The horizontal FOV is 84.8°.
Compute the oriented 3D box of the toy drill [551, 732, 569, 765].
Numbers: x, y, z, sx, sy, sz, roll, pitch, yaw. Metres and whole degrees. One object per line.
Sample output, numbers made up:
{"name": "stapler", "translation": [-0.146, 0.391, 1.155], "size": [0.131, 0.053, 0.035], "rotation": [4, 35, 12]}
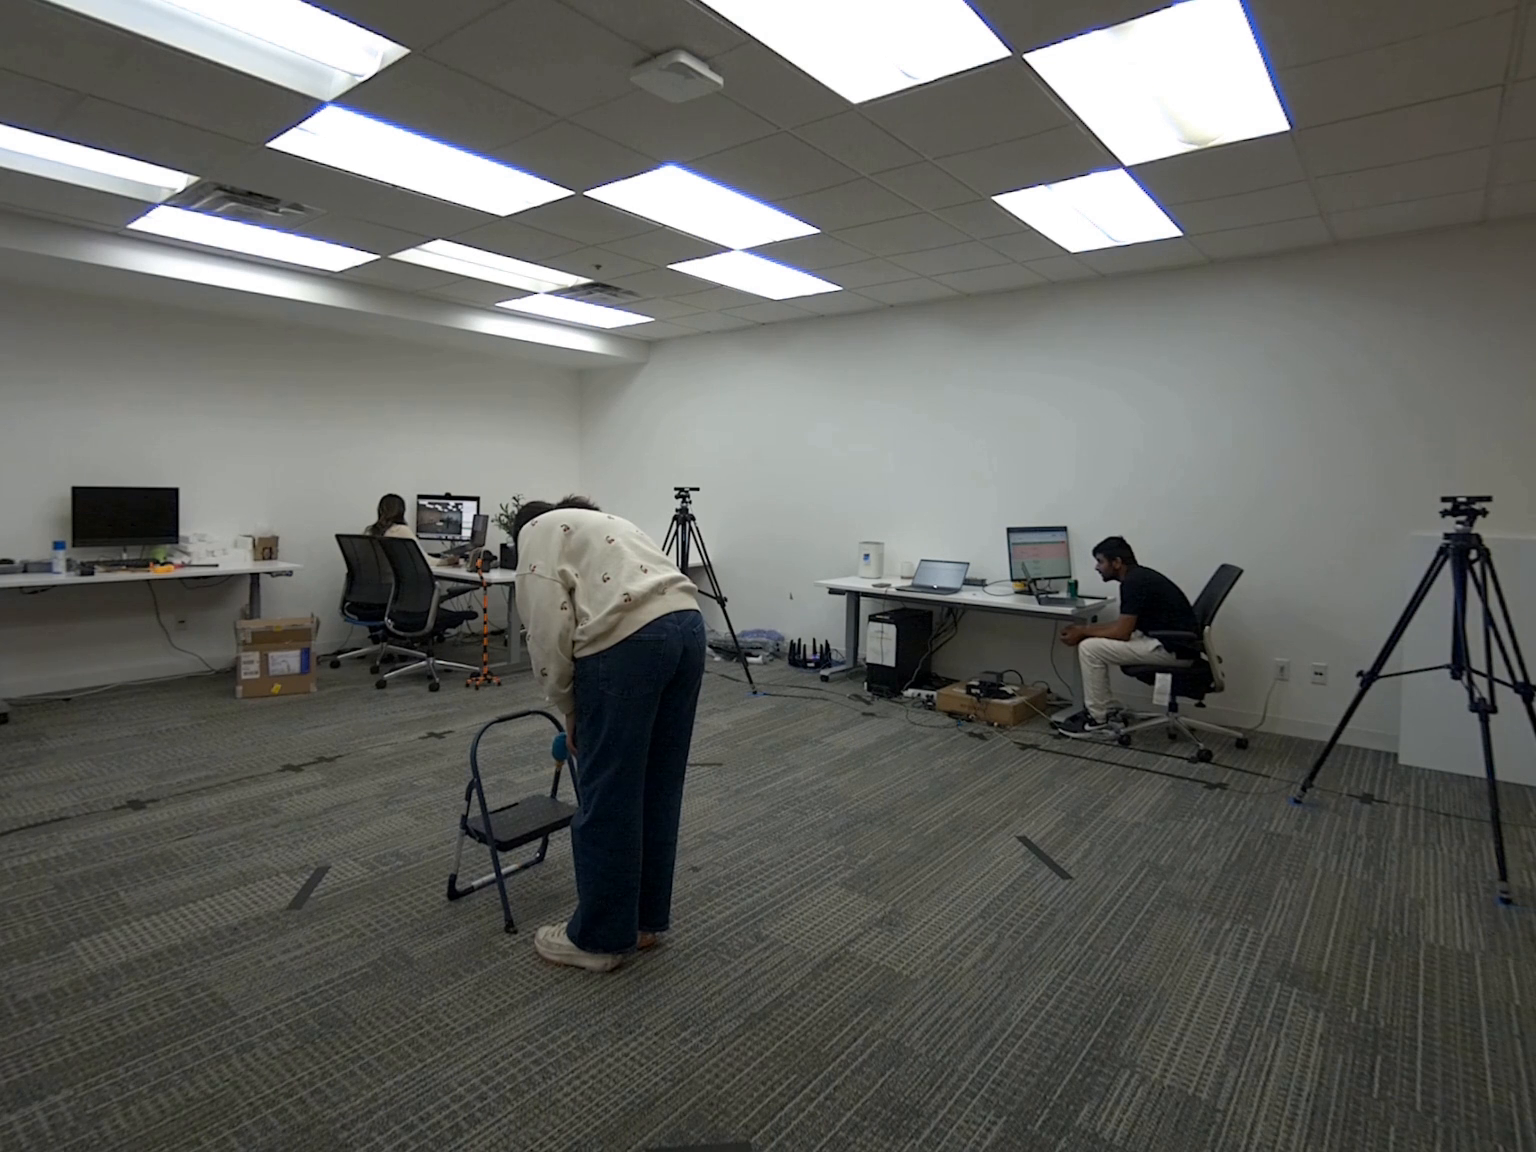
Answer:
{"name": "toy drill", "translation": [-0.654, 0.583, 2.782], "size": [0.146, 0.167, 0.062], "rotation": [18, 24, -2]}
